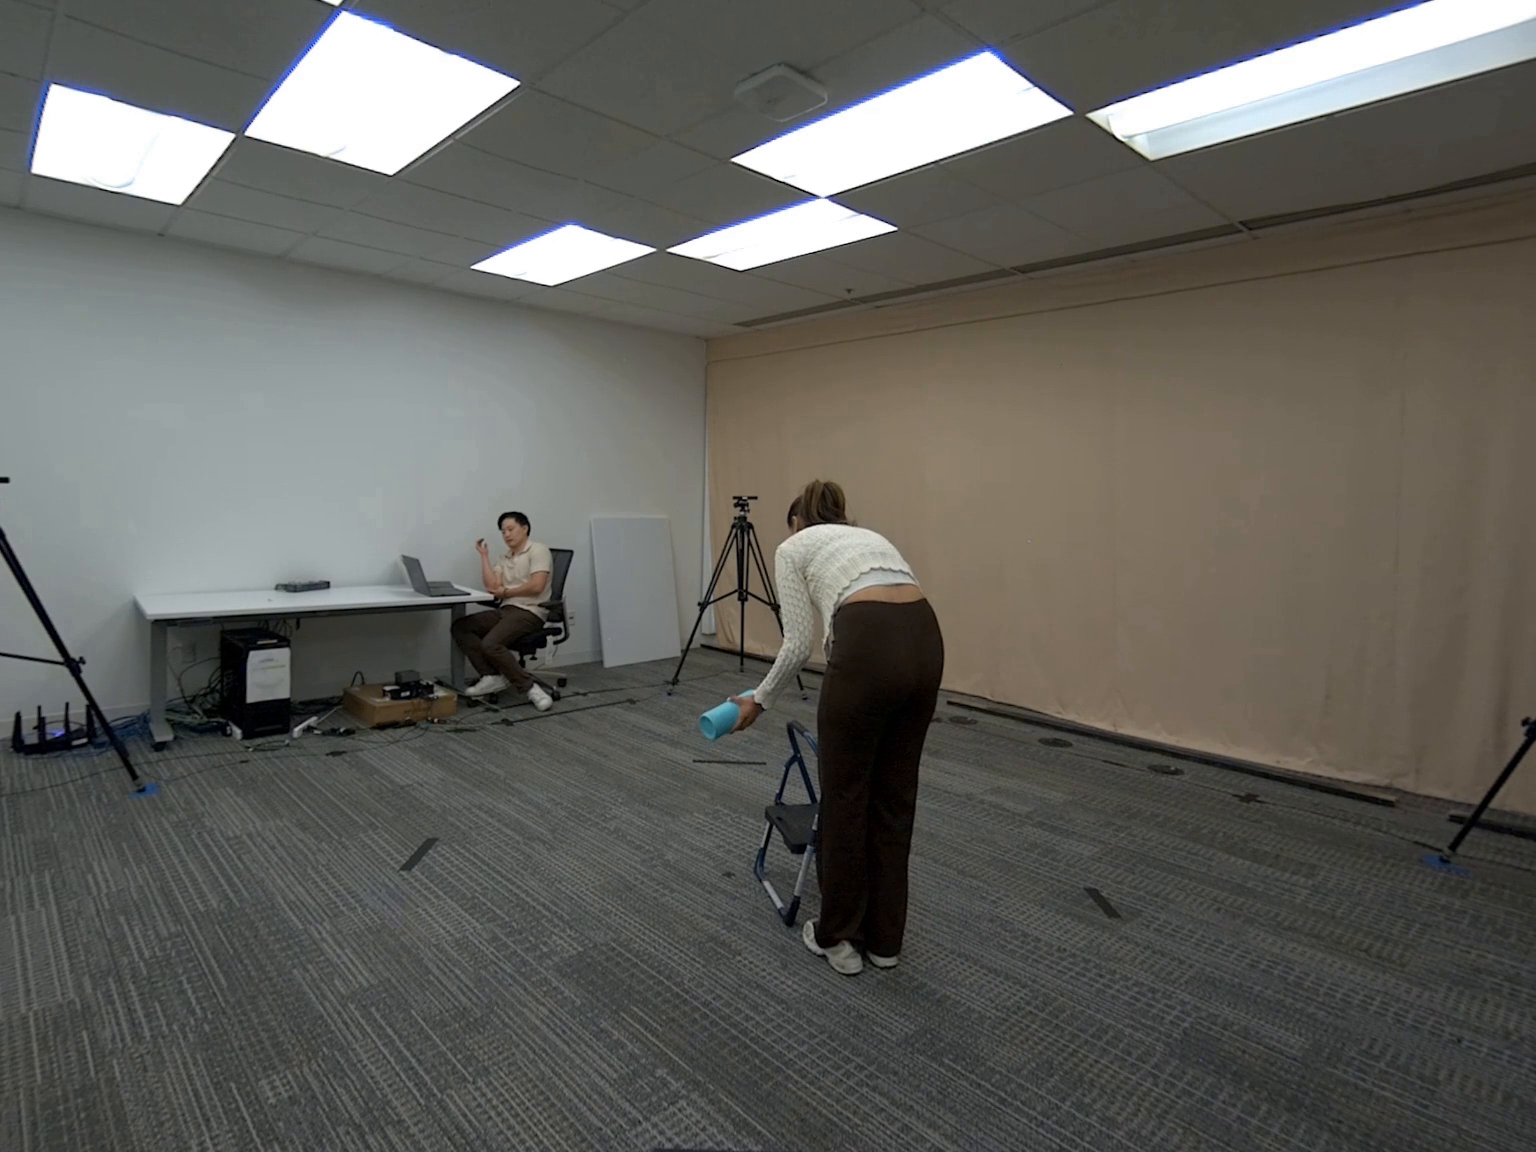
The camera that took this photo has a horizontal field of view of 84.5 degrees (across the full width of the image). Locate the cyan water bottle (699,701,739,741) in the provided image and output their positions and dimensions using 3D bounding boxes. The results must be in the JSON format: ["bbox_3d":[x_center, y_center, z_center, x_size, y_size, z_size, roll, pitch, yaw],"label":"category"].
[{"bbox_3d":[-0.100,0.453,2.767,0.279,0.091,0.095,-21,18,-39],"label":"cyan water bottle"}]
